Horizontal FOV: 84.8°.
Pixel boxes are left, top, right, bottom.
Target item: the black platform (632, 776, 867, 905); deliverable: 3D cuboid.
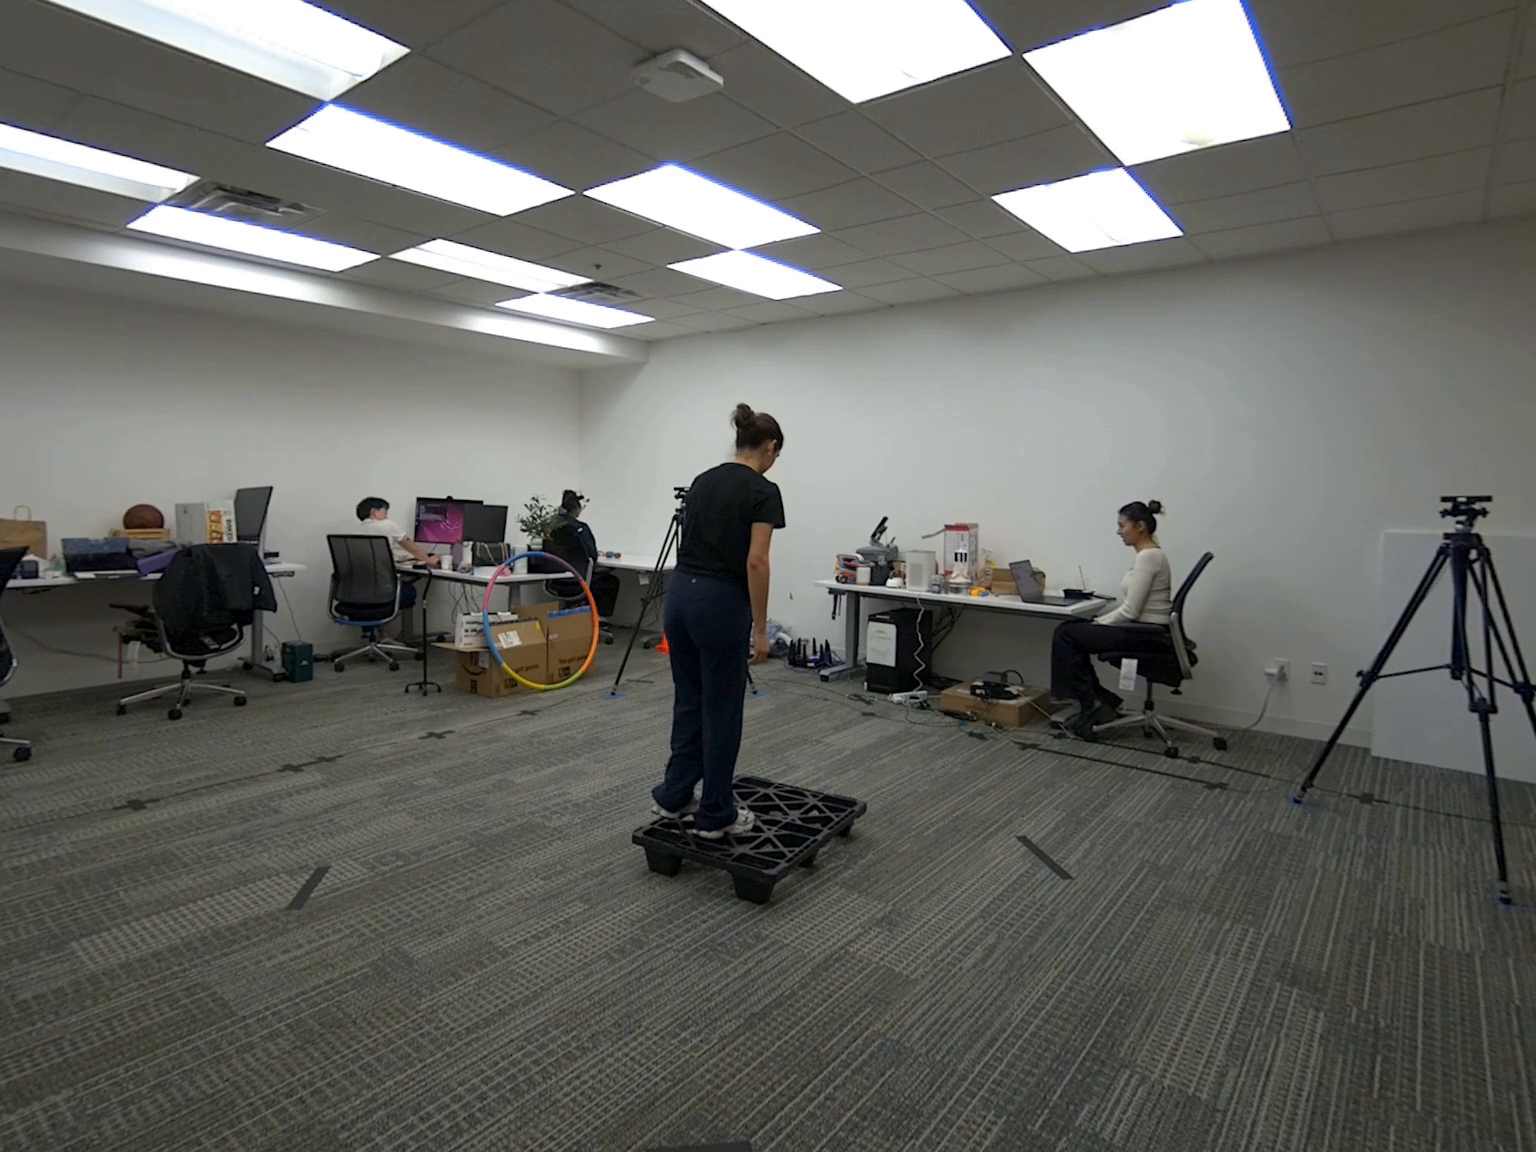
[{"bbox_3d":[-0.038,0.985,3.275,0.623,0.143,0.784,4,6,31],"label":"black platform"}]
